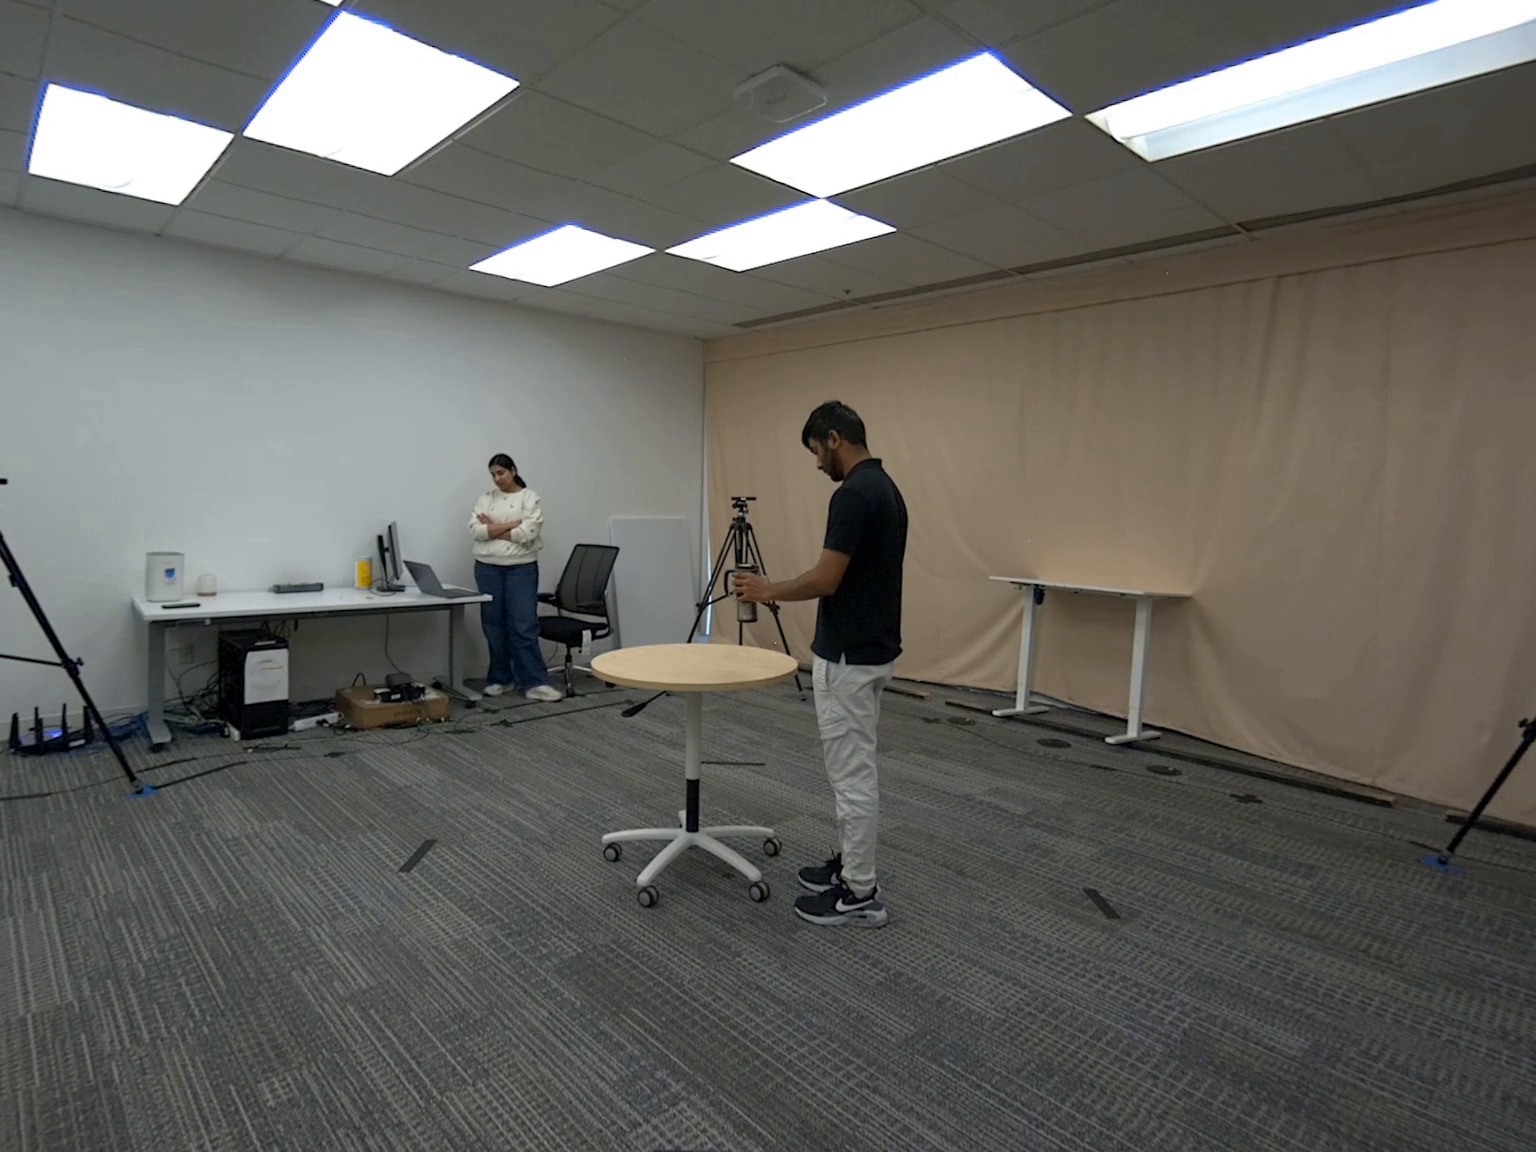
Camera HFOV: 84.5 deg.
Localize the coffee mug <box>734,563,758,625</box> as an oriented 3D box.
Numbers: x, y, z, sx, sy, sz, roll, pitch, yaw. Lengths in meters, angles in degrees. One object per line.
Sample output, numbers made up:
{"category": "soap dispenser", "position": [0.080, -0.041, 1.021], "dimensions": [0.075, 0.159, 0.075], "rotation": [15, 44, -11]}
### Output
{"category": "coffee mug", "position": [-0.091, 0.061, 2.961], "dimensions": [0.124, 0.202, 0.086], "rotation": [3, 6, 27]}
